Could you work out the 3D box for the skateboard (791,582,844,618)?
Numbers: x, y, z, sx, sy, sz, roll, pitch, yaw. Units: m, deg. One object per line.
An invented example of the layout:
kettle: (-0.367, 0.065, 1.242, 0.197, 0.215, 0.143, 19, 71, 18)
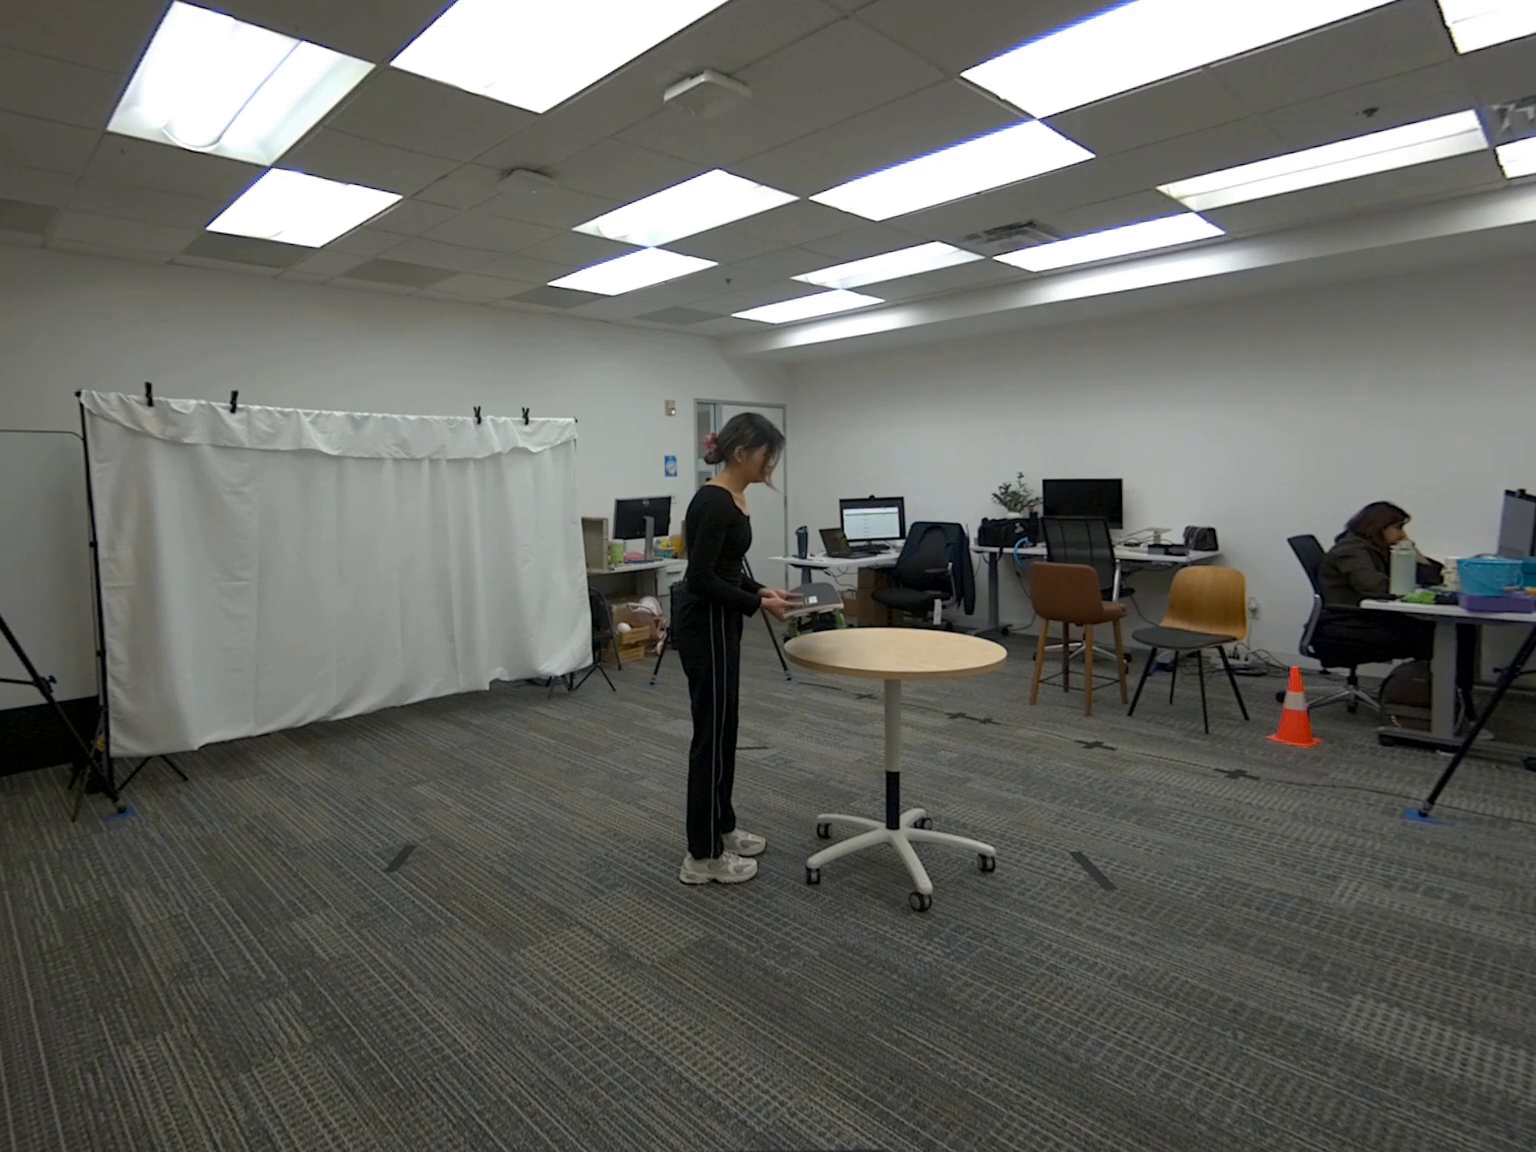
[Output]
skateboard: (0.148, 0.119, 2.995, 0.194, 0.110, 0.785, -13, 4, 3)
